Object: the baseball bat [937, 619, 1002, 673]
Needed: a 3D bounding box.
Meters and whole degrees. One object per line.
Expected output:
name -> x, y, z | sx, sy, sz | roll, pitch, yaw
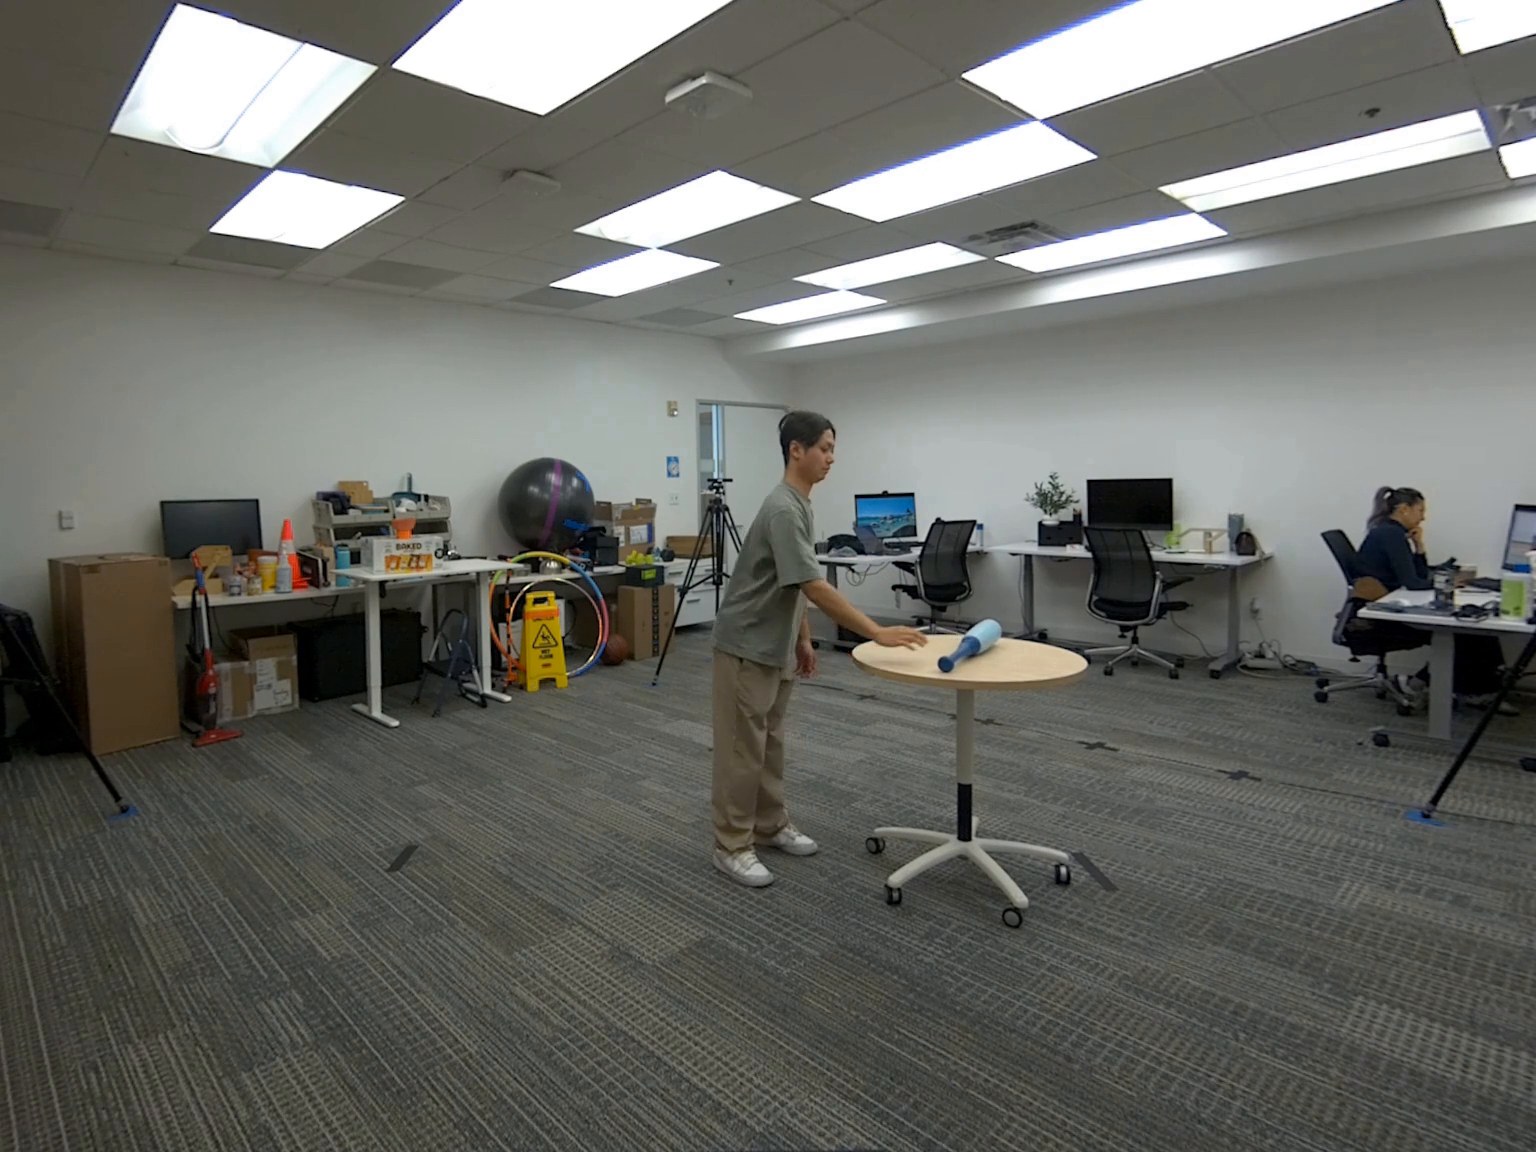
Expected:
baseball bat -> 0.670, 0.237, 2.873 | 0.091, 0.088, 0.533 | 2, 10, 28
